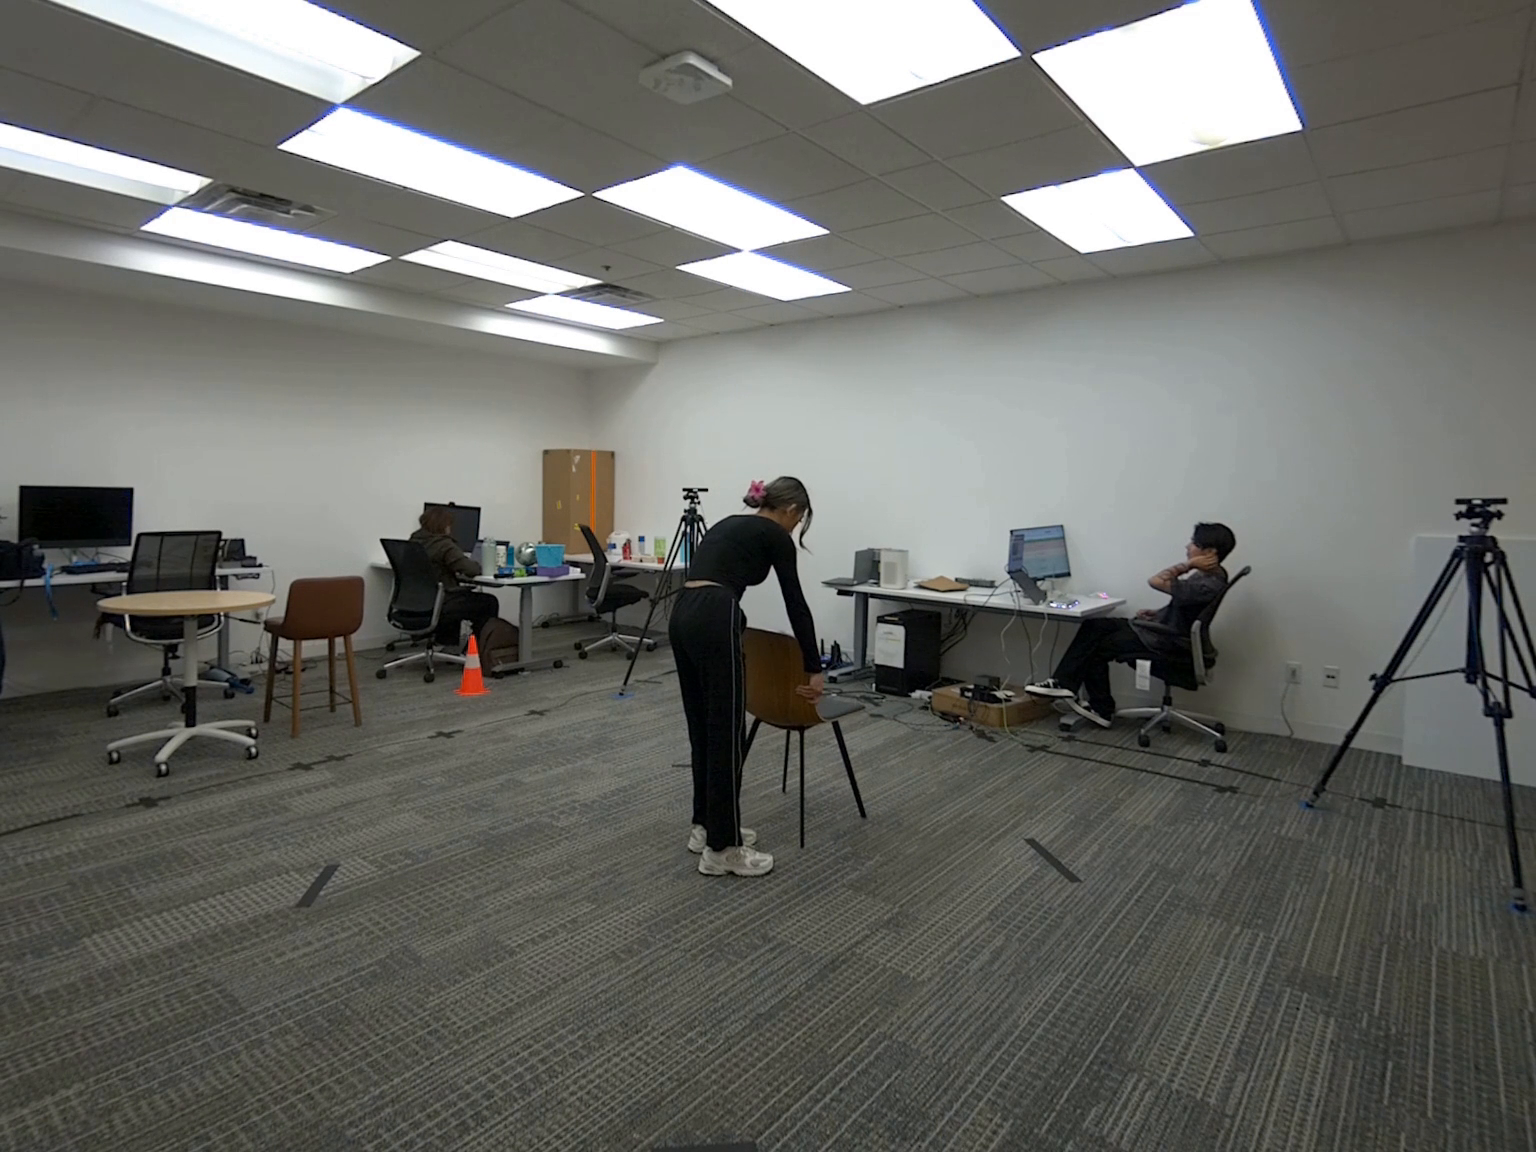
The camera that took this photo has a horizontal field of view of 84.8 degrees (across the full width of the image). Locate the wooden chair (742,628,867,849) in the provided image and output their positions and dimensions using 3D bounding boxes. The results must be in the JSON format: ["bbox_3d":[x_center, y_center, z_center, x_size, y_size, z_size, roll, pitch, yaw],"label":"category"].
[{"bbox_3d":[0.107,0.600,3.606,0.494,0.872,0.509,3,8,41],"label":"wooden chair"}]
